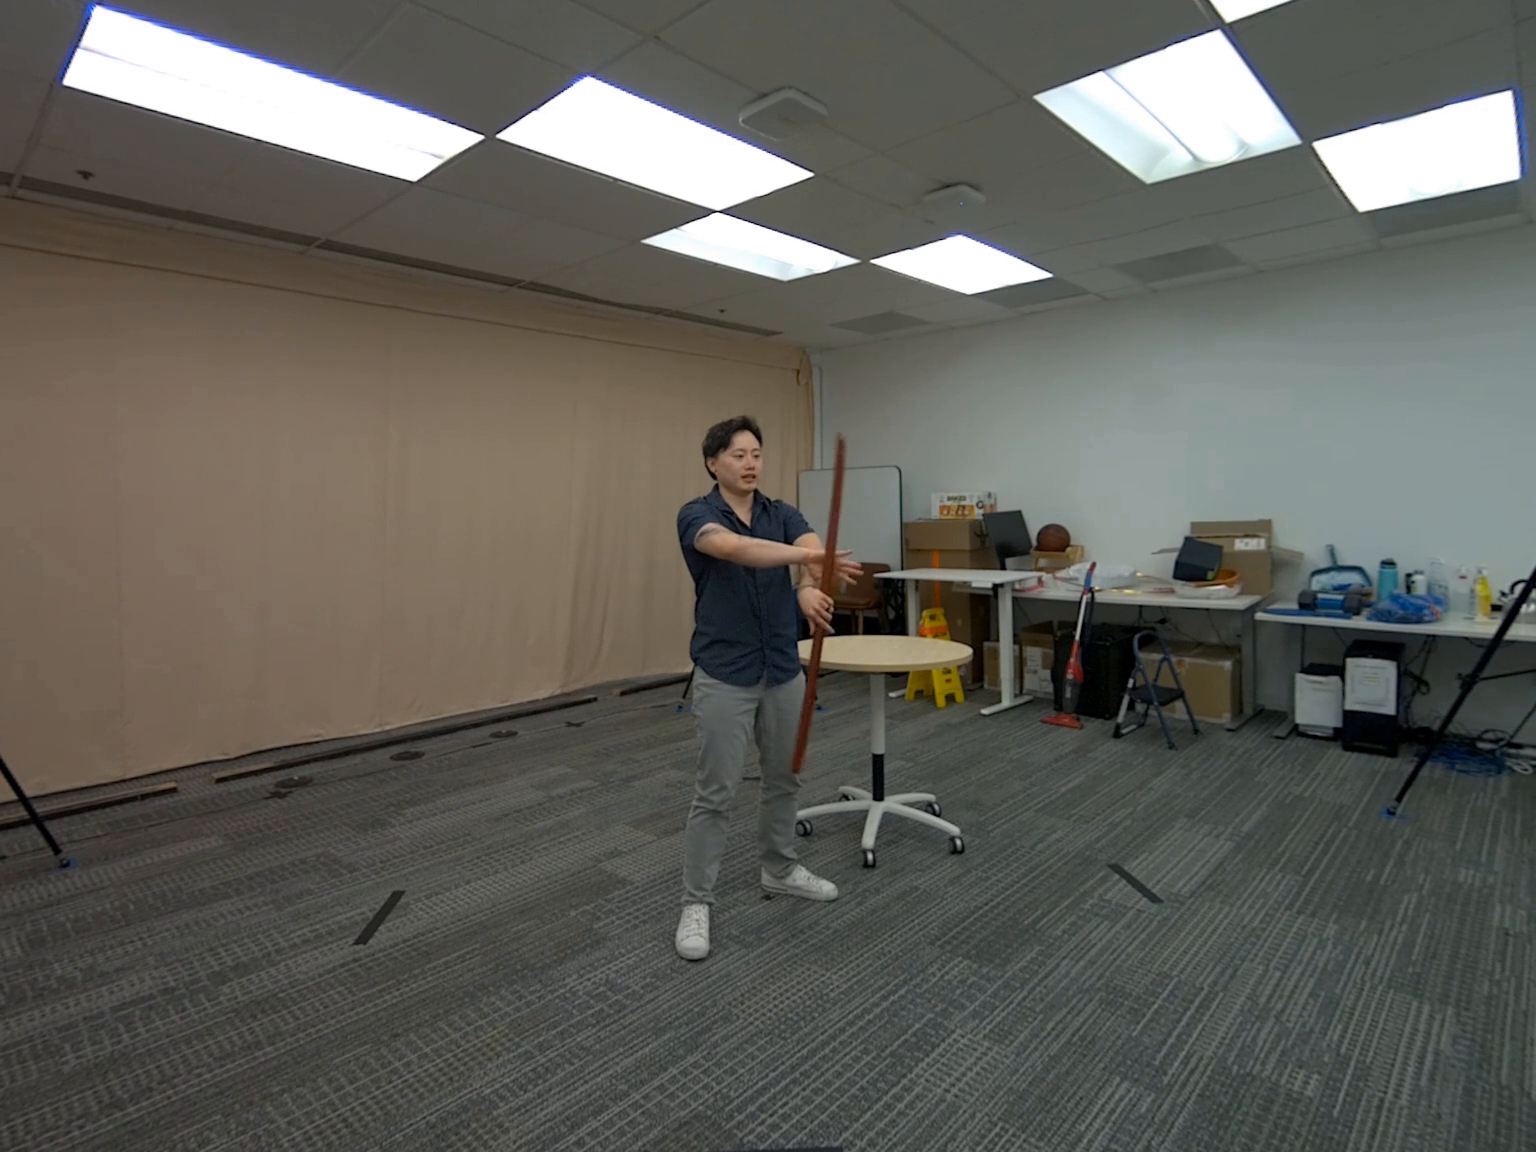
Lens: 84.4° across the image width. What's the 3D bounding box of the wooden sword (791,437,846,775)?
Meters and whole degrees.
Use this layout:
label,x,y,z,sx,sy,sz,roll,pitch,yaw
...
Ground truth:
label,x,y,z,sx,sy,sz,roll,pitch,yaw
wooden sword,0.175,0.084,2.500,0.023,1.024,0.053,8,0,-29
